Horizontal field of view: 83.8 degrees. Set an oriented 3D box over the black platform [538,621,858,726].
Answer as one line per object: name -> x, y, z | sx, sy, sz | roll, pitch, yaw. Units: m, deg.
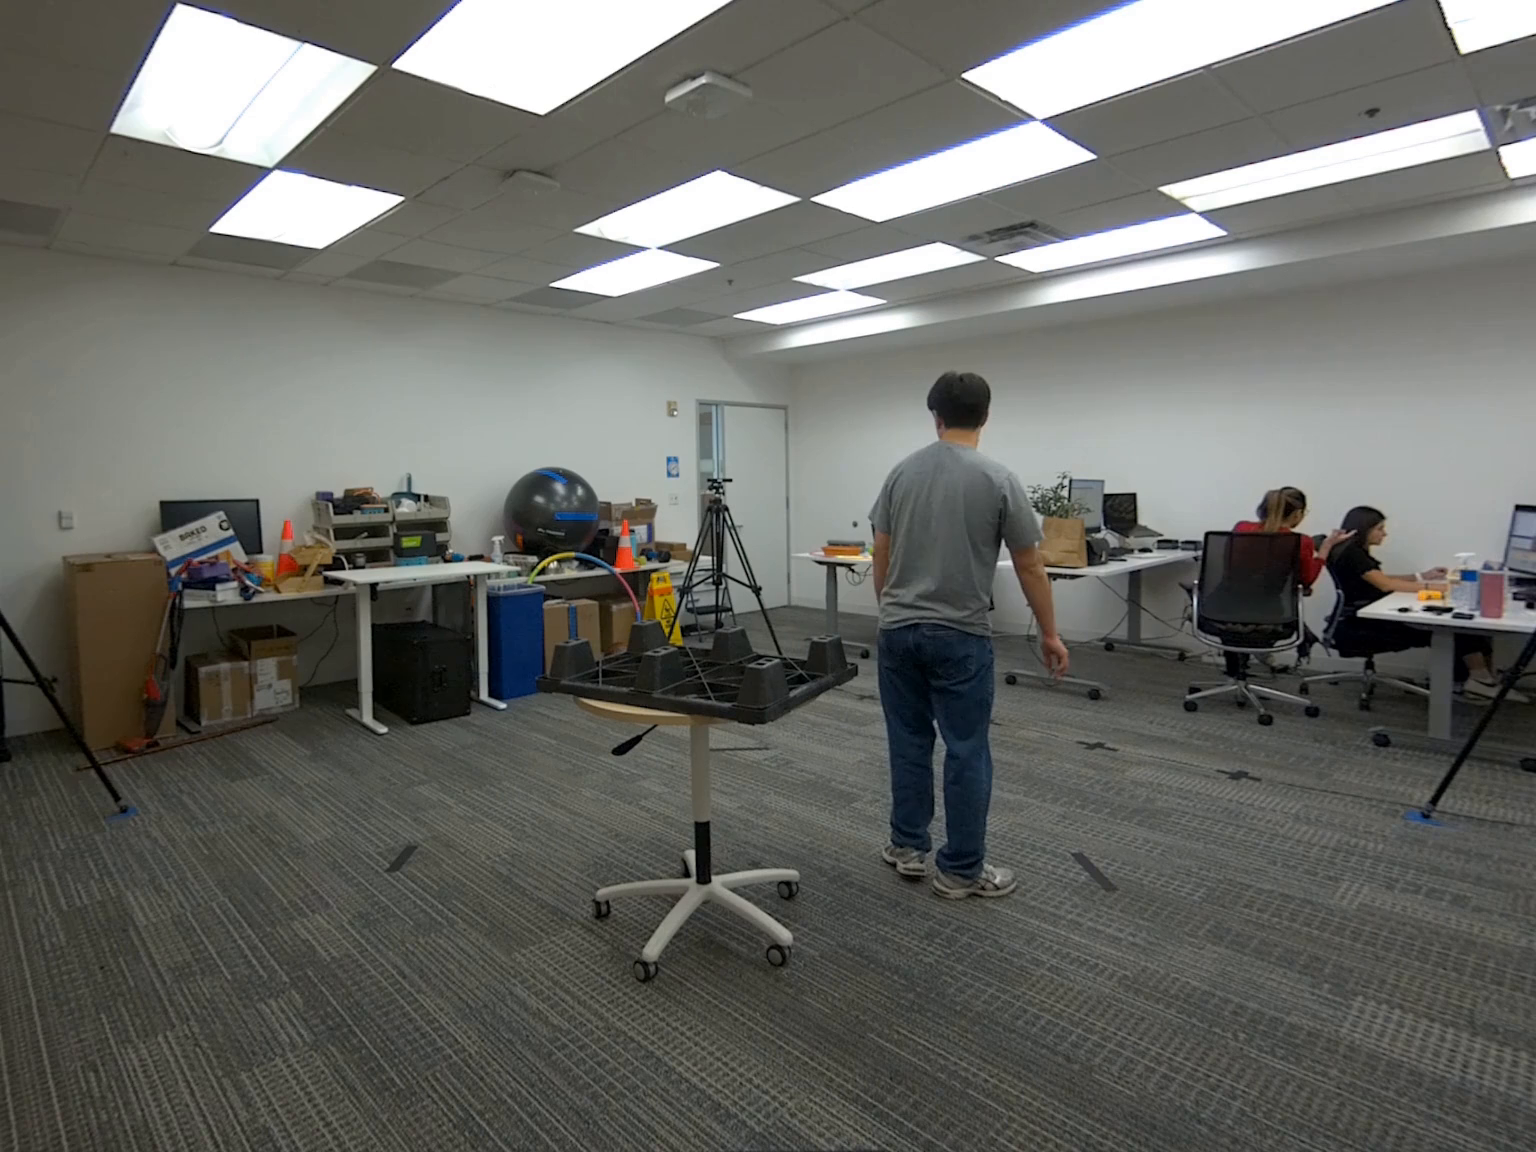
black platform -> -0.202, 0.261, 2.593 | 0.827, 0.142, 0.592 | 2, 8, 31
